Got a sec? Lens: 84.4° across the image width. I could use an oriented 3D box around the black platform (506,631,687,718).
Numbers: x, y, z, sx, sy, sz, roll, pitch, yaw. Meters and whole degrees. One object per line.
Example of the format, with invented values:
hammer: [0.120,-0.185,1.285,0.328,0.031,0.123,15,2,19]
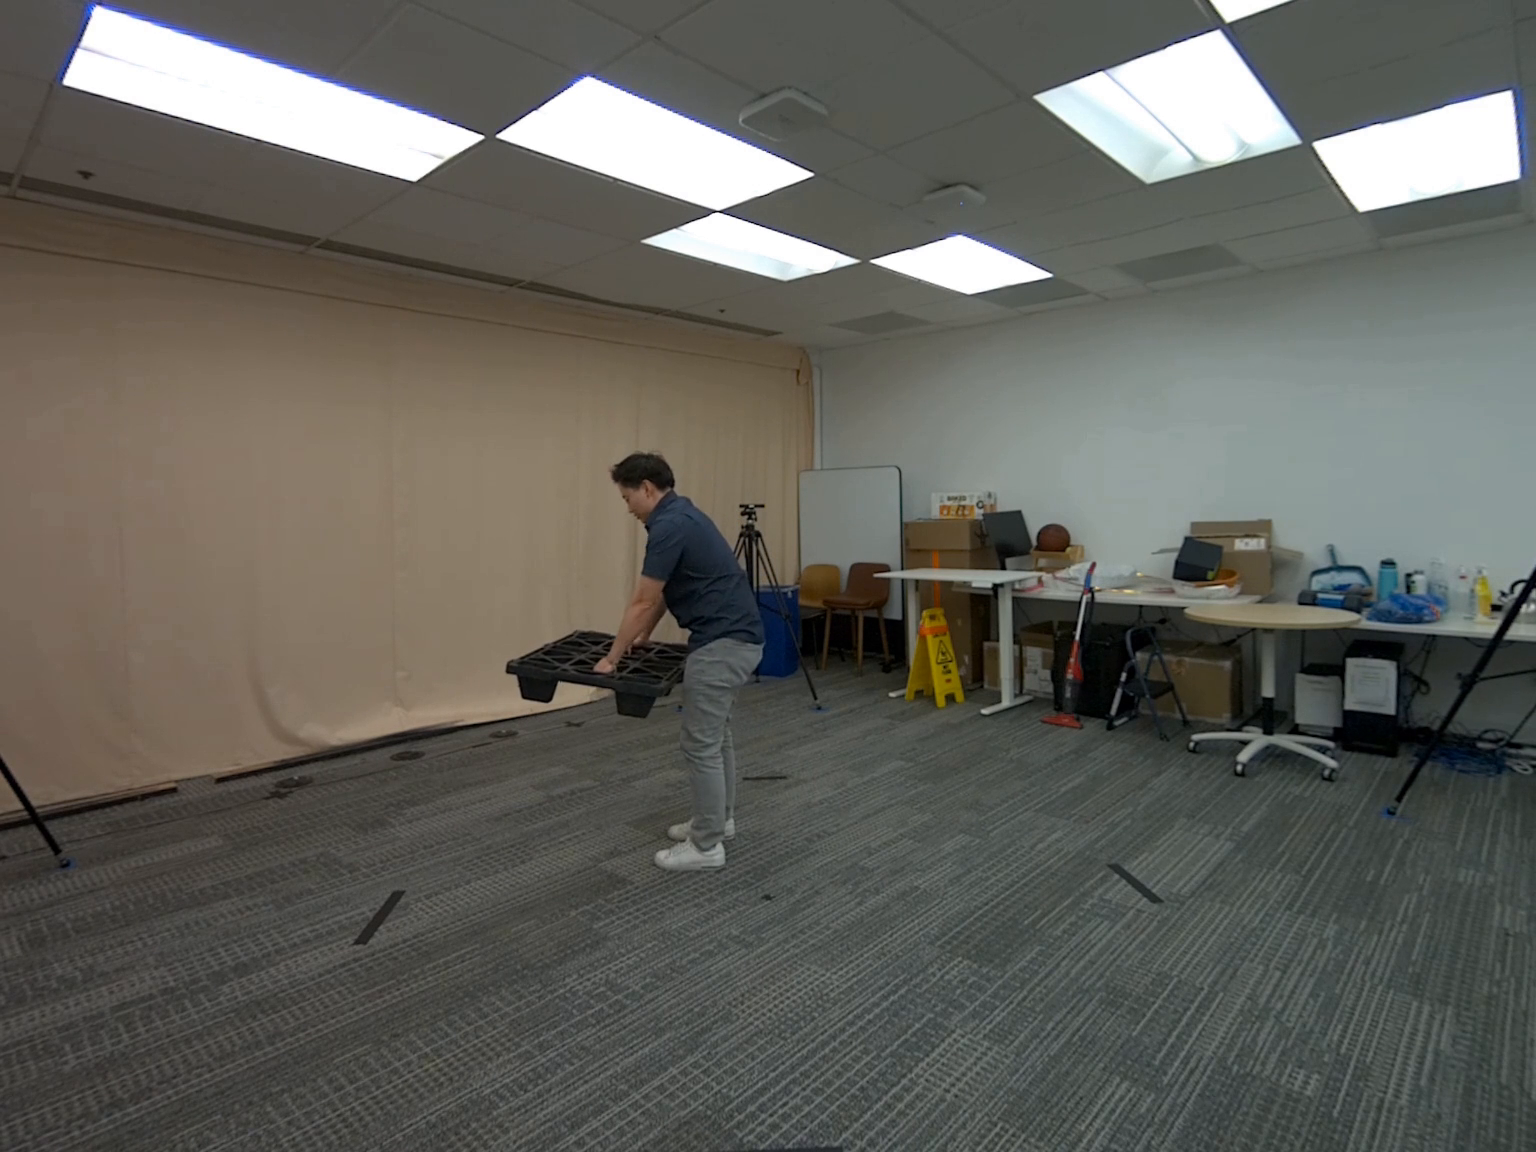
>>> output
black platform: [-0.619,0.386,3.411,0.612,0.143,0.799,8,6,8]
